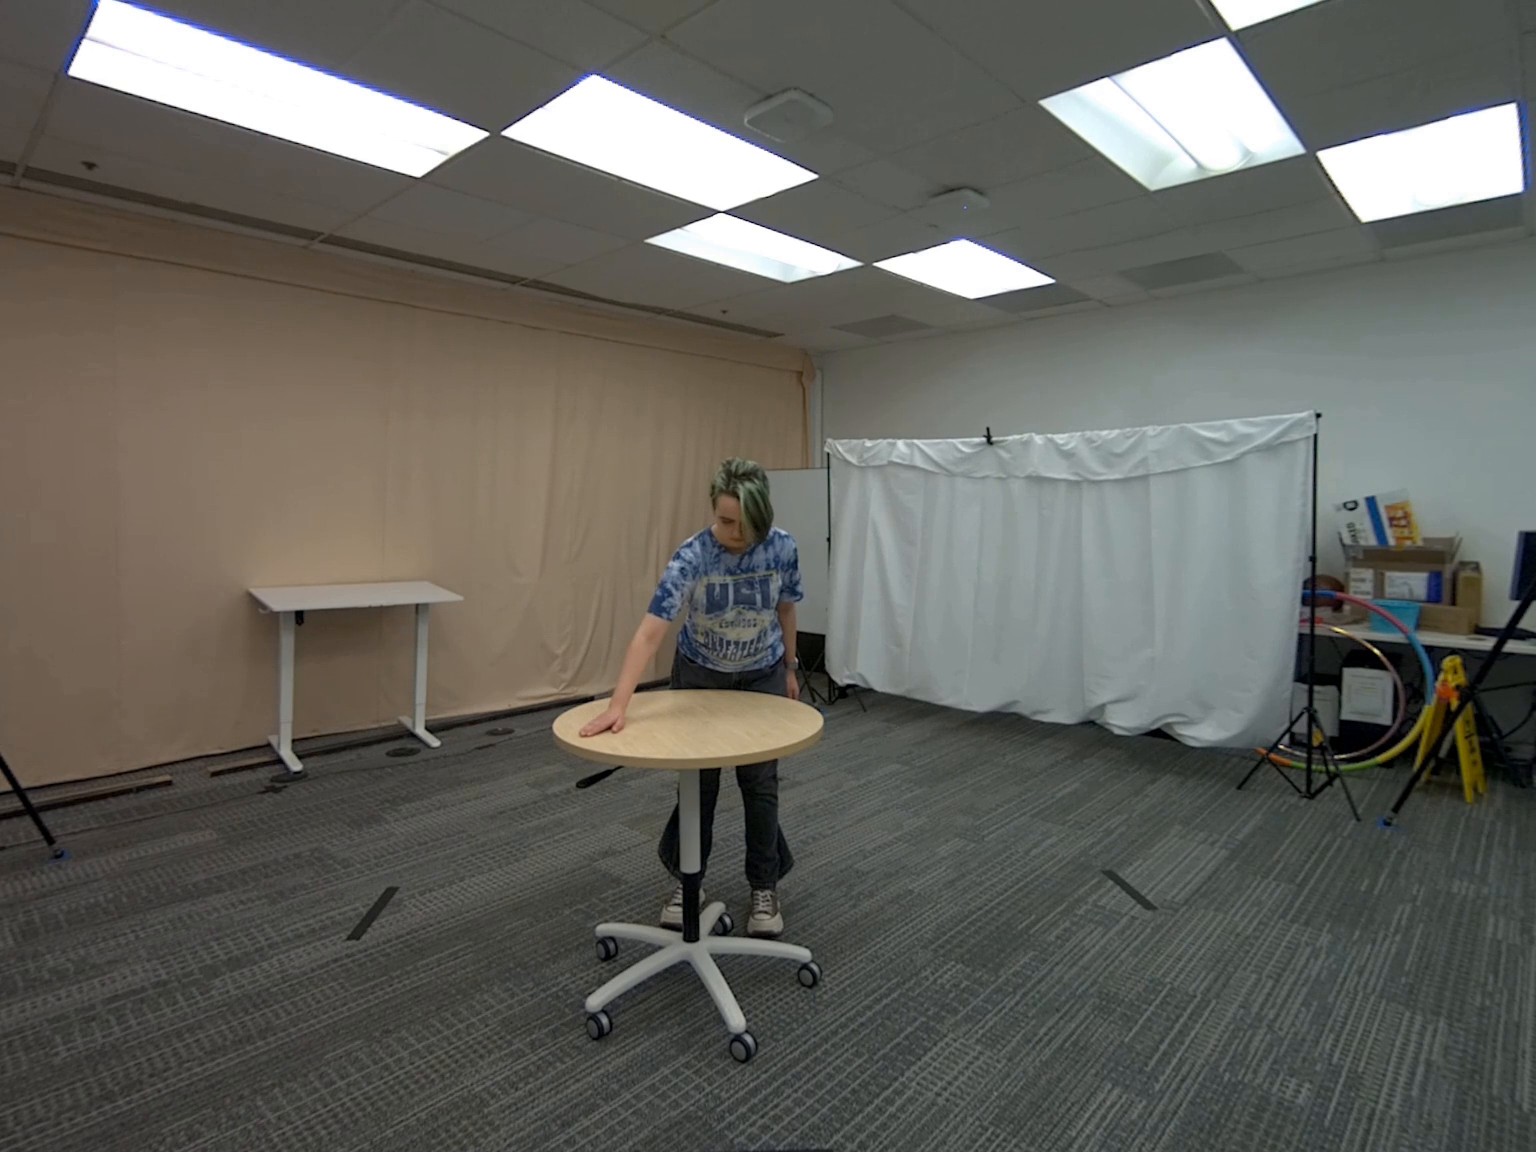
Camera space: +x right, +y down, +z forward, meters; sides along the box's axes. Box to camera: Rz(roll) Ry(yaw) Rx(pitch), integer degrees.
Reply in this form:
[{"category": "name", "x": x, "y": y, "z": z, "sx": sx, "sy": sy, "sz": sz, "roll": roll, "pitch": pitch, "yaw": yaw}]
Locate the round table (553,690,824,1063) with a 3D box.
[{"category": "round table", "x": -0.230, "y": 0.796, "z": 2.434, "sx": 0.784, "sy": 0.785, "sz": 0.788, "roll": 0, "pitch": 4, "yaw": -2}]
